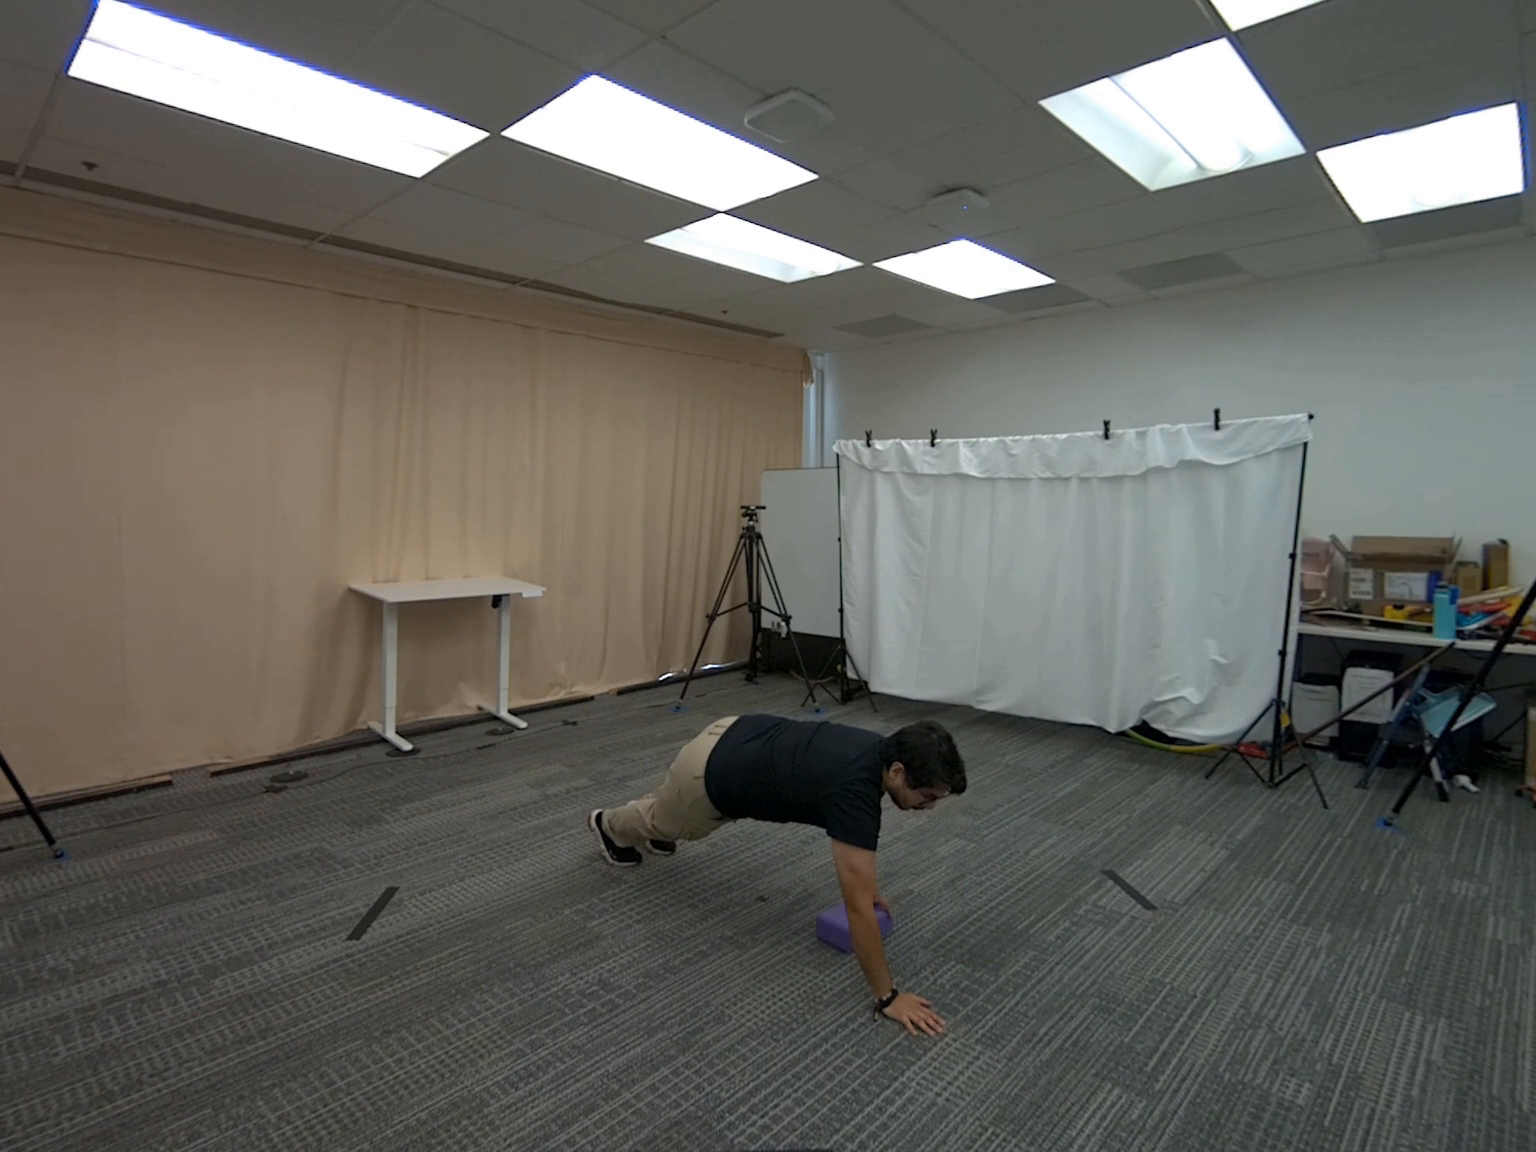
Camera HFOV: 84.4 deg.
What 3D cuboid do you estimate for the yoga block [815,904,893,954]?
[{"bbox_3d":[0.283,1.124,2.728,0.154,0.076,0.222,5,7,44],"label":"yoga block"}]
